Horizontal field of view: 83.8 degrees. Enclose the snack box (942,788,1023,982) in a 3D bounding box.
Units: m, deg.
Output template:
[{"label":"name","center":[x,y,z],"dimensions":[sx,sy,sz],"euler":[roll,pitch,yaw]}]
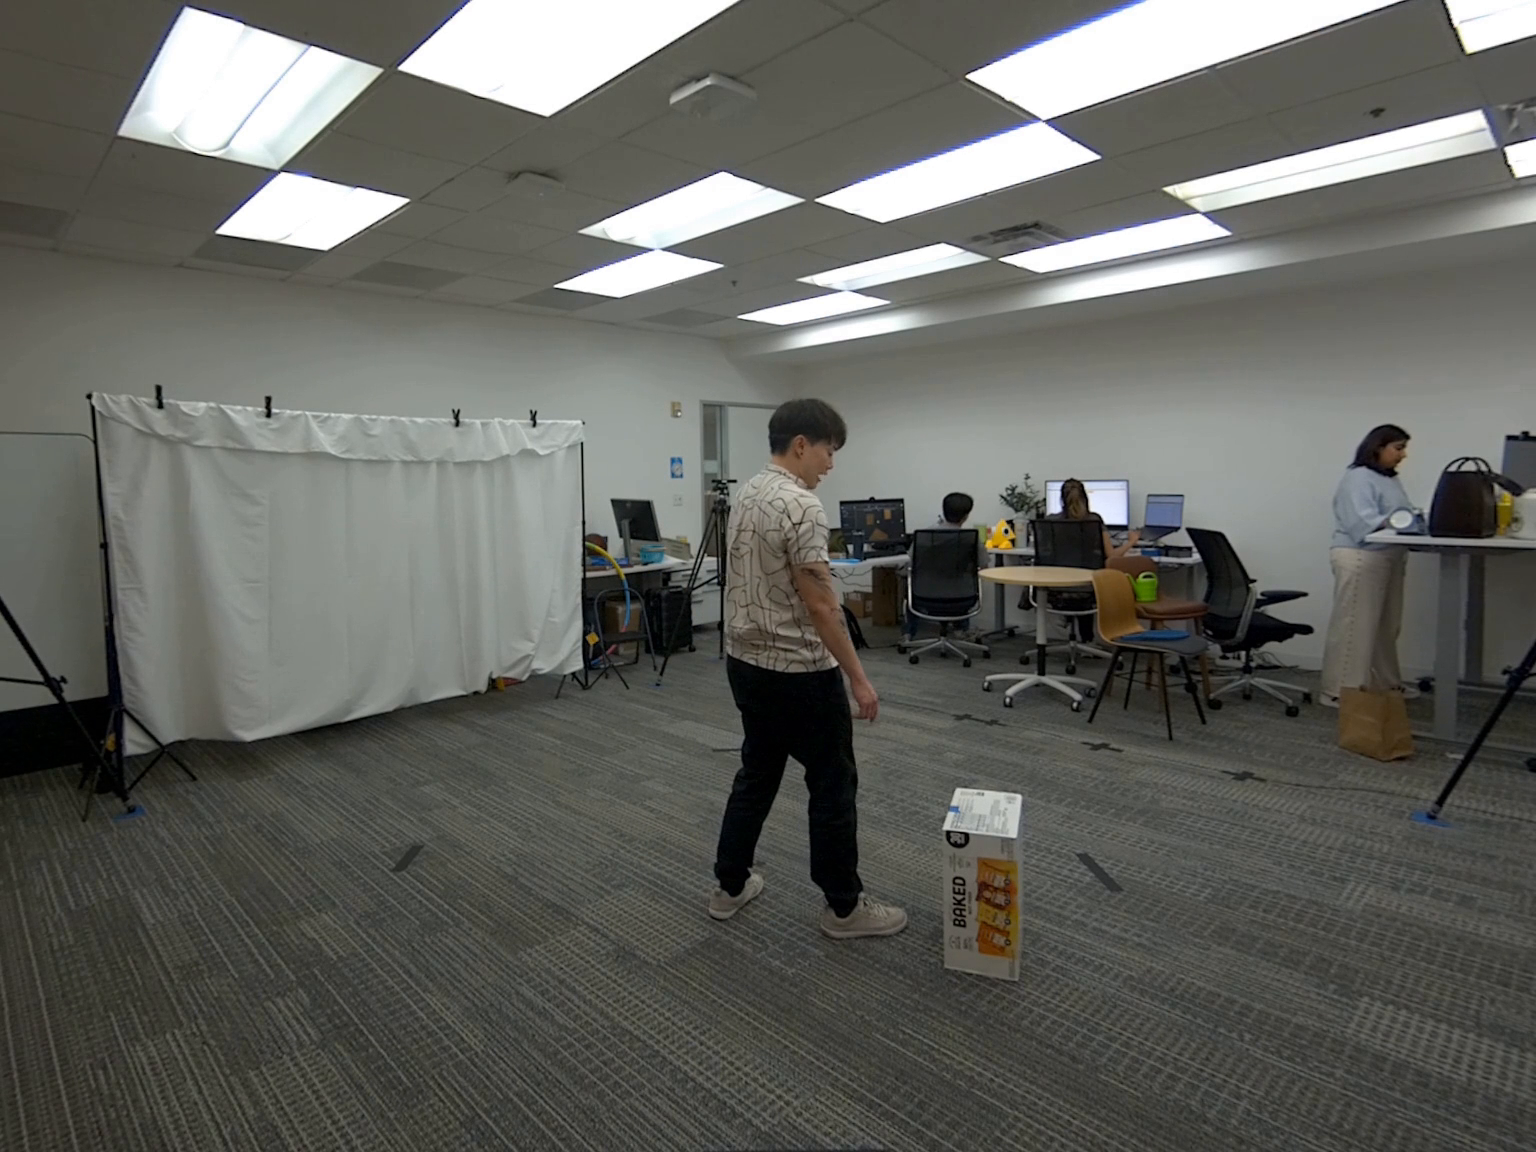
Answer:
[{"label":"snack box","center":[0.649,0.895,2.531],"dimensions":[0.210,0.404,0.335],"euler":[0,4,20]}]
